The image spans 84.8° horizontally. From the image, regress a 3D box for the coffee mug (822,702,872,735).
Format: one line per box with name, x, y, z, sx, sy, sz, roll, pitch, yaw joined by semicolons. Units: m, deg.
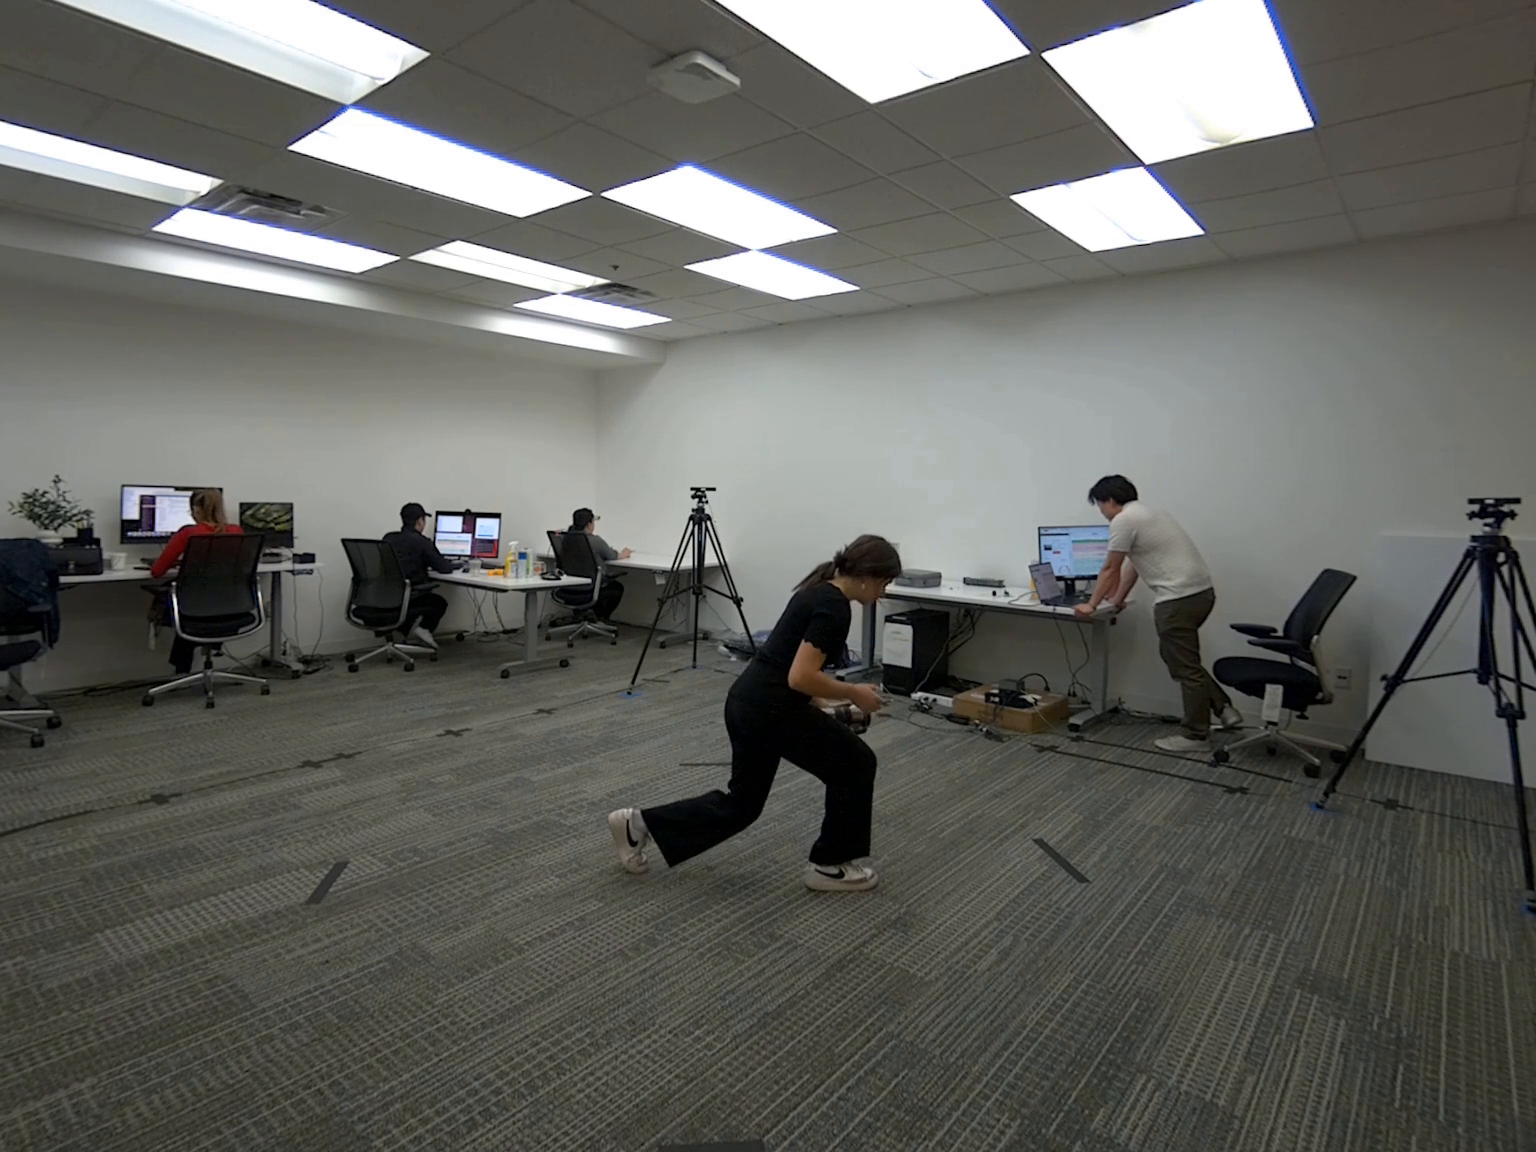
coffee mug;0.270;0.524;3.159;0.201;0.126;0.086;0;-41;-7
